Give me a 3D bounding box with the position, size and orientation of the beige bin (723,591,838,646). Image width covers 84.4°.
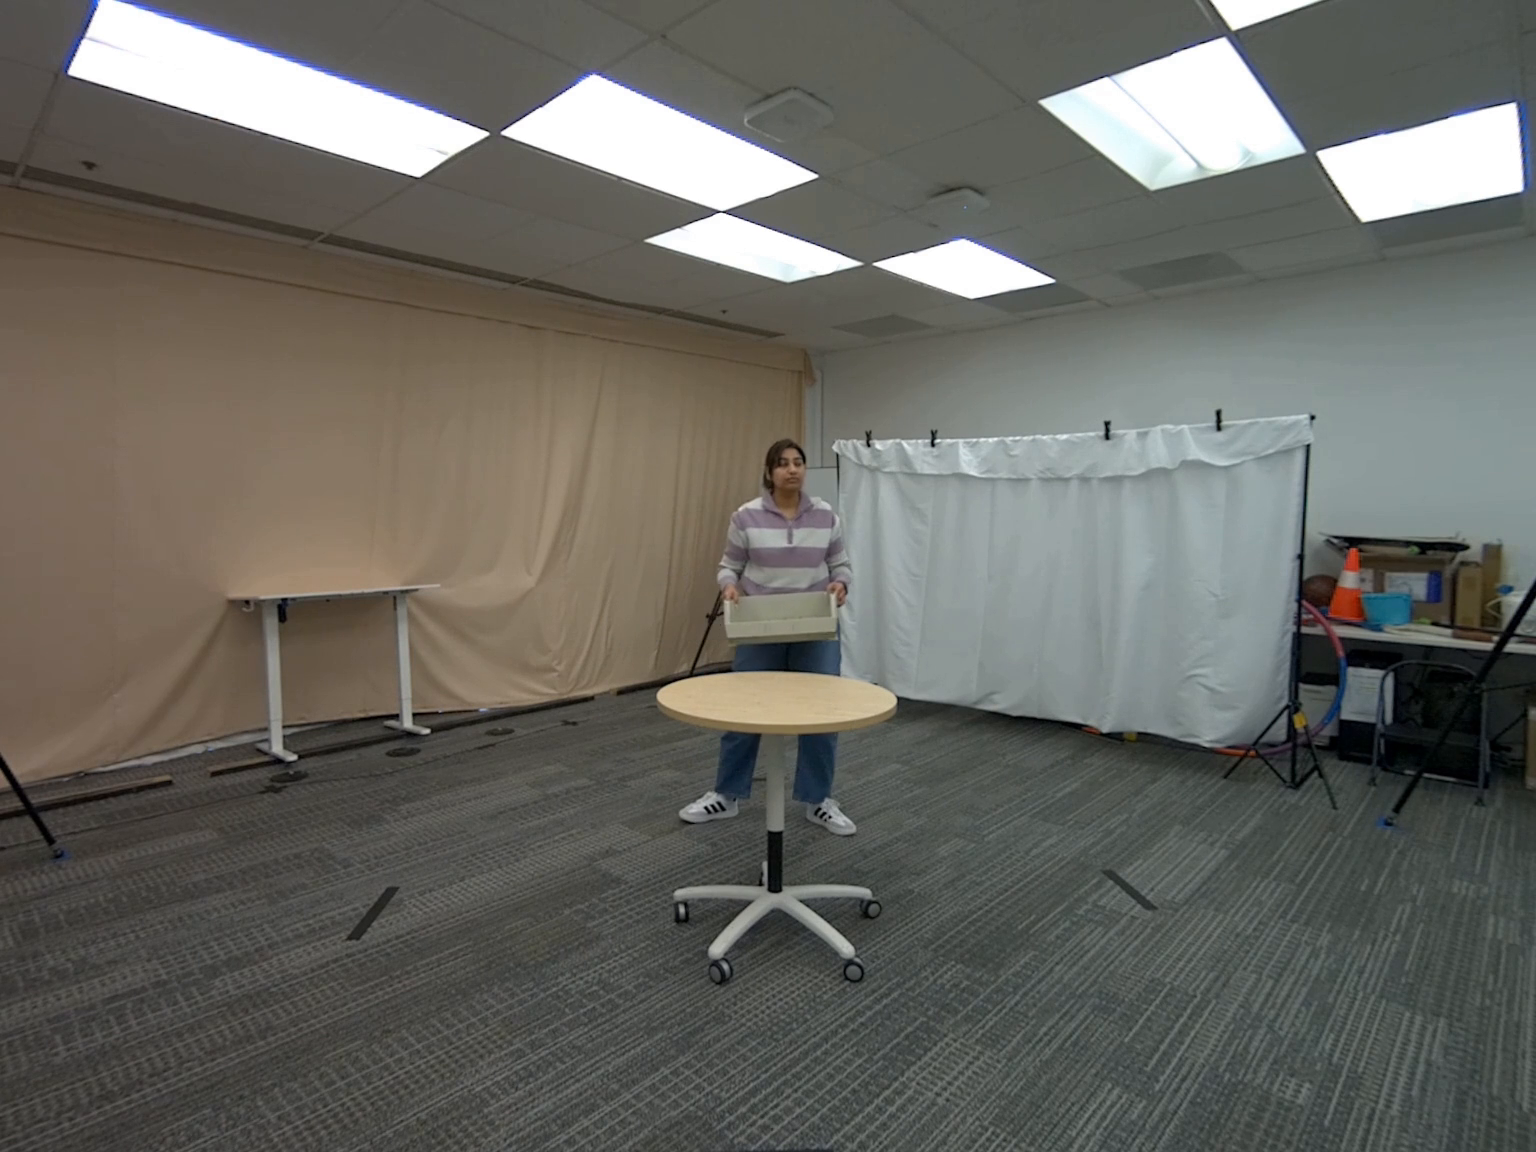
[{"bbox_3d":[0.058,0.163,3.304,0.425,0.189,0.374,-4,-1,6],"label":"beige bin"}]
